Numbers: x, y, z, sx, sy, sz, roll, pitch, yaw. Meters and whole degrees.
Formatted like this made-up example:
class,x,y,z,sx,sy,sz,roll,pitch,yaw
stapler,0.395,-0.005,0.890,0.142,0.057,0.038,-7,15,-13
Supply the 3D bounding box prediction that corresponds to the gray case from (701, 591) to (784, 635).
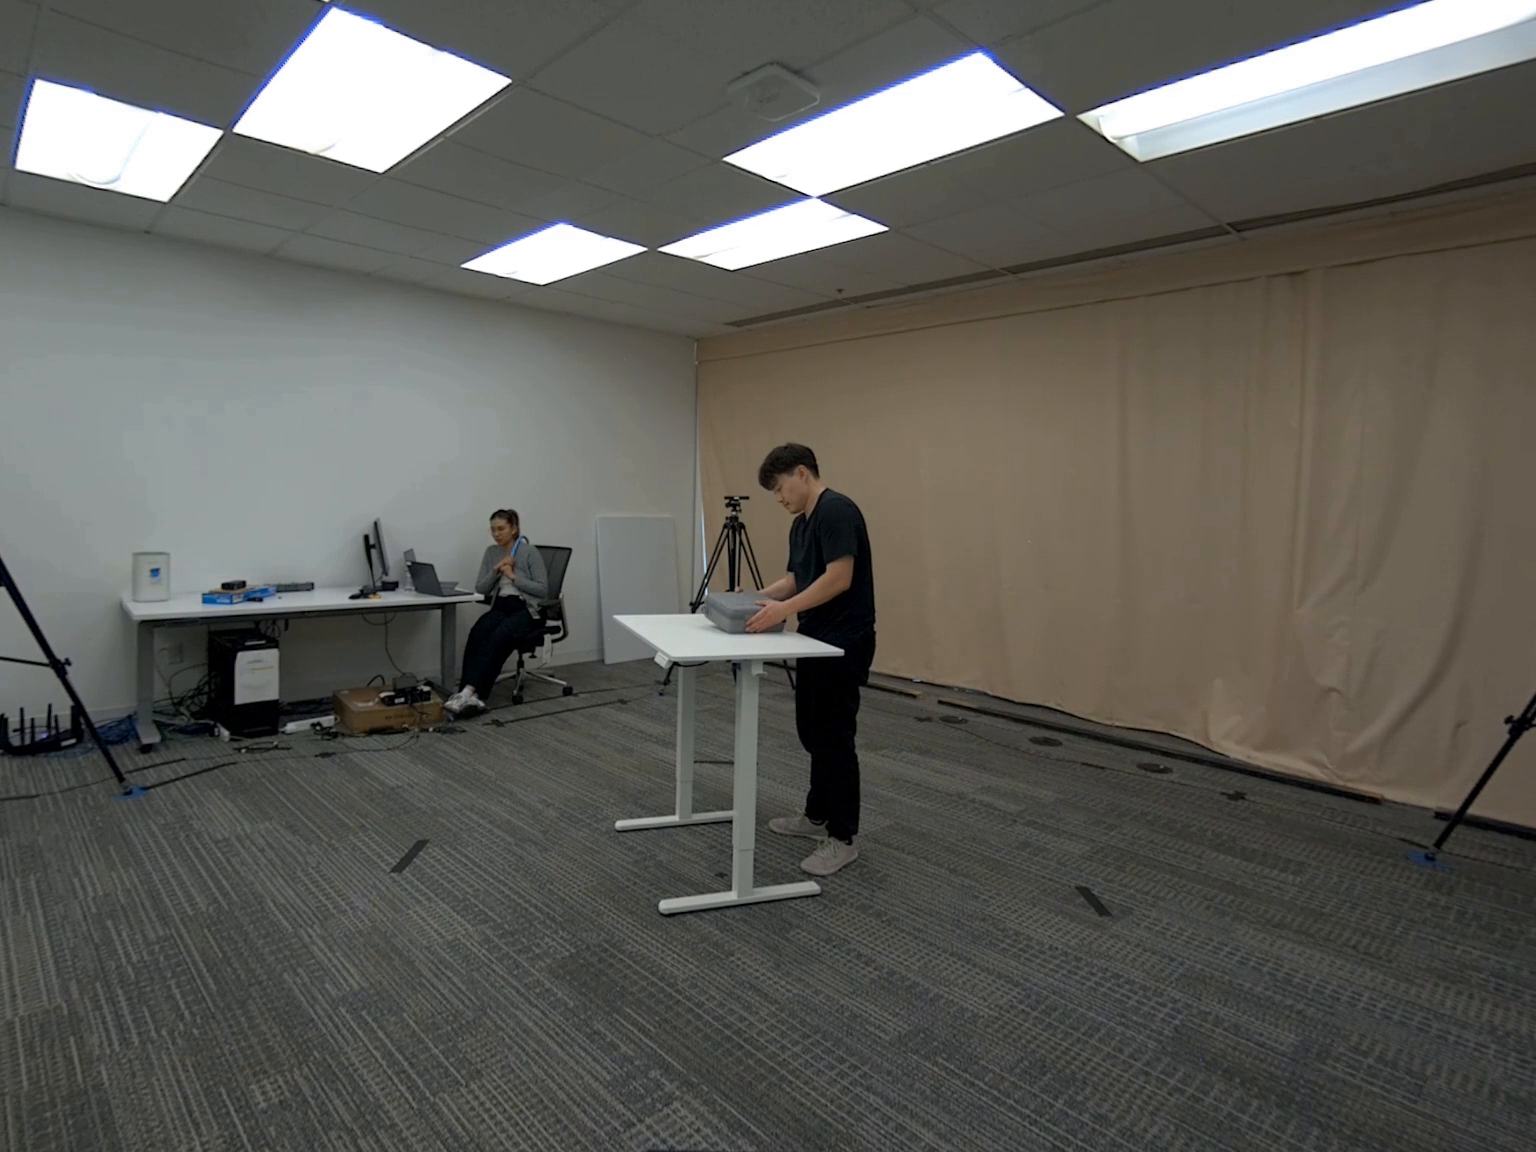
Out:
class,x,y,z,sx,sy,sz,roll,pitch,yaw
gray case,-0.104,0.141,3.280,0.252,0.103,0.267,-1,14,-27
